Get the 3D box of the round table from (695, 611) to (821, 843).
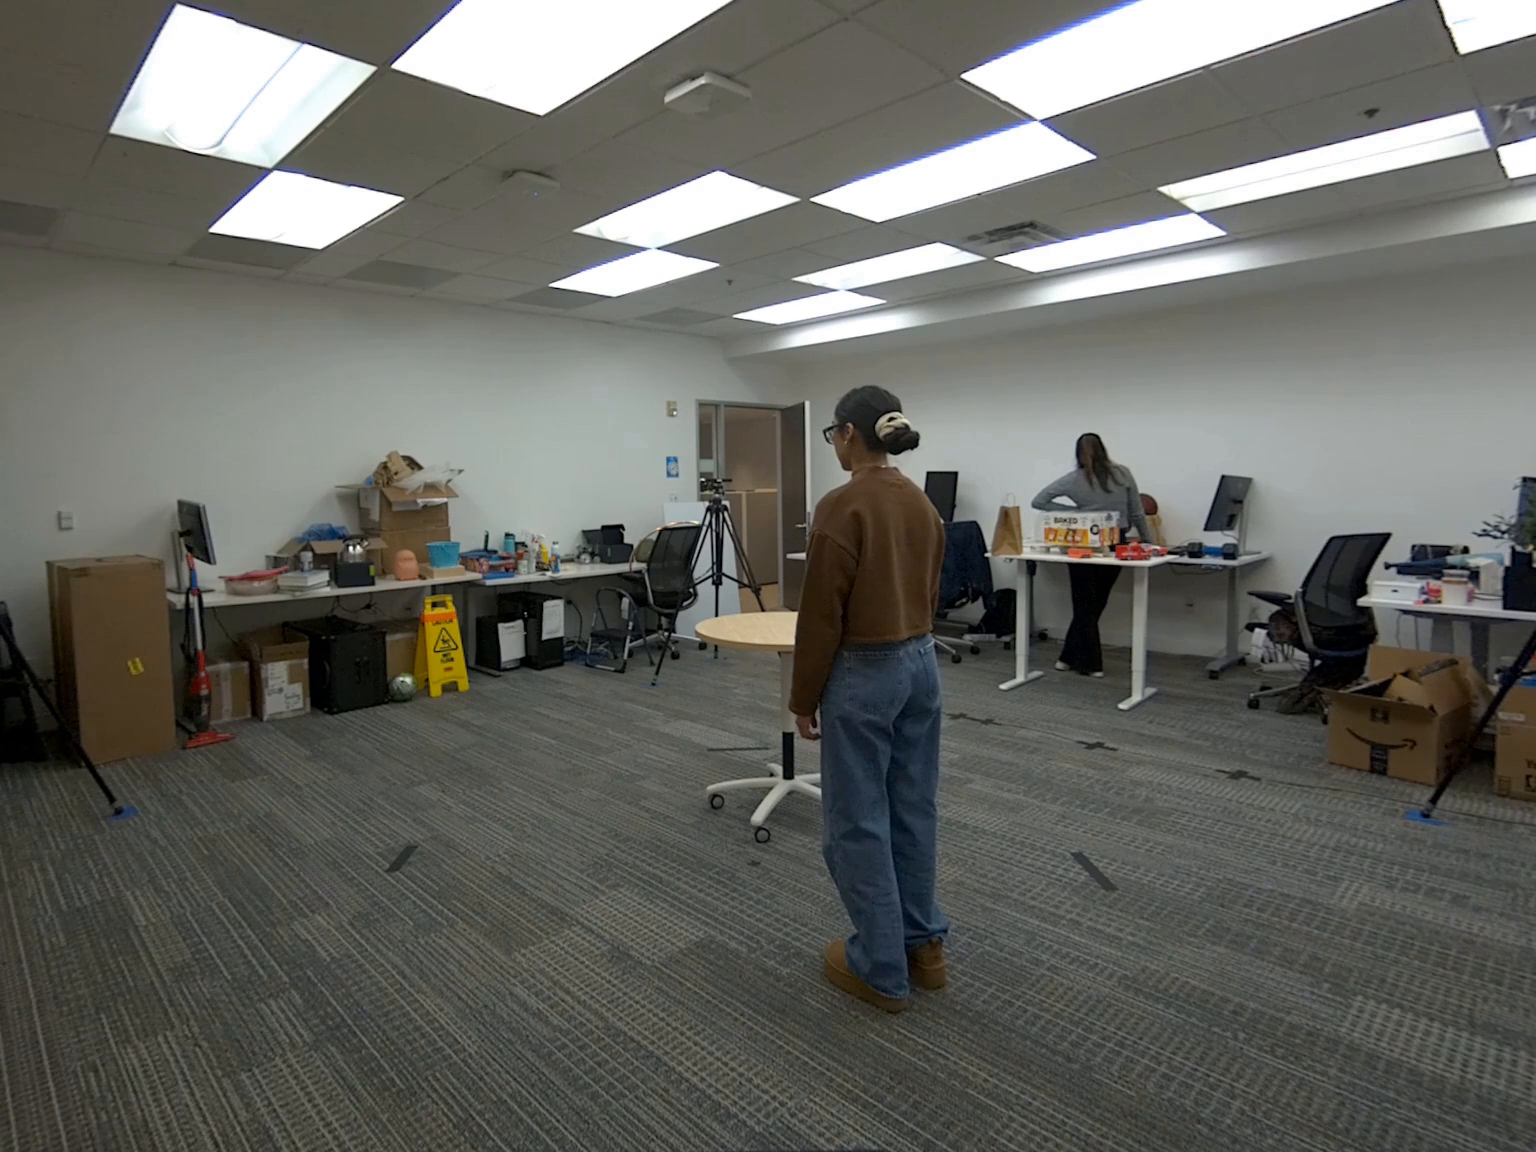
[{"bbox_3d":[0.101,0.595,3.572,0.784,0.783,0.789,-1,5,-2],"label":"round table"}]
